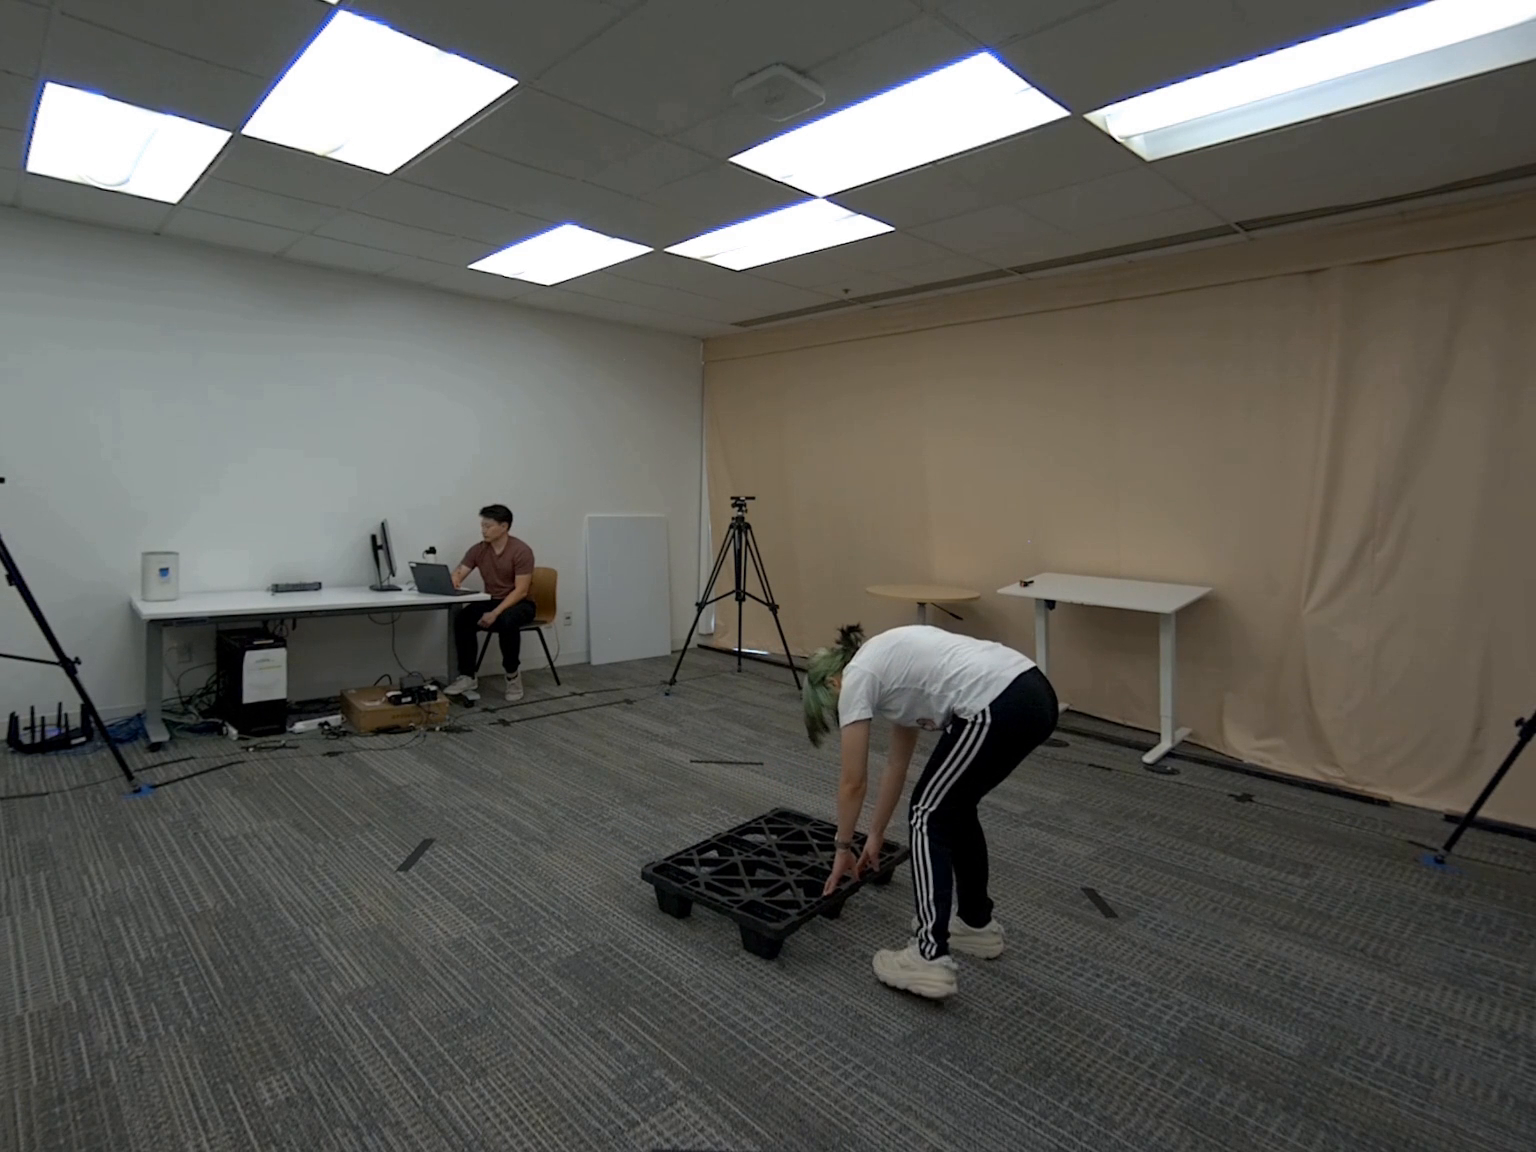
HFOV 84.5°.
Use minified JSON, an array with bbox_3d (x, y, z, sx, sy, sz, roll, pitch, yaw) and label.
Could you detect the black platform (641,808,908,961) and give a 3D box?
[{"bbox_3d":[0.041,1.054,2.955,0.620,0.143,0.788,6,7,39],"label":"black platform"}]
